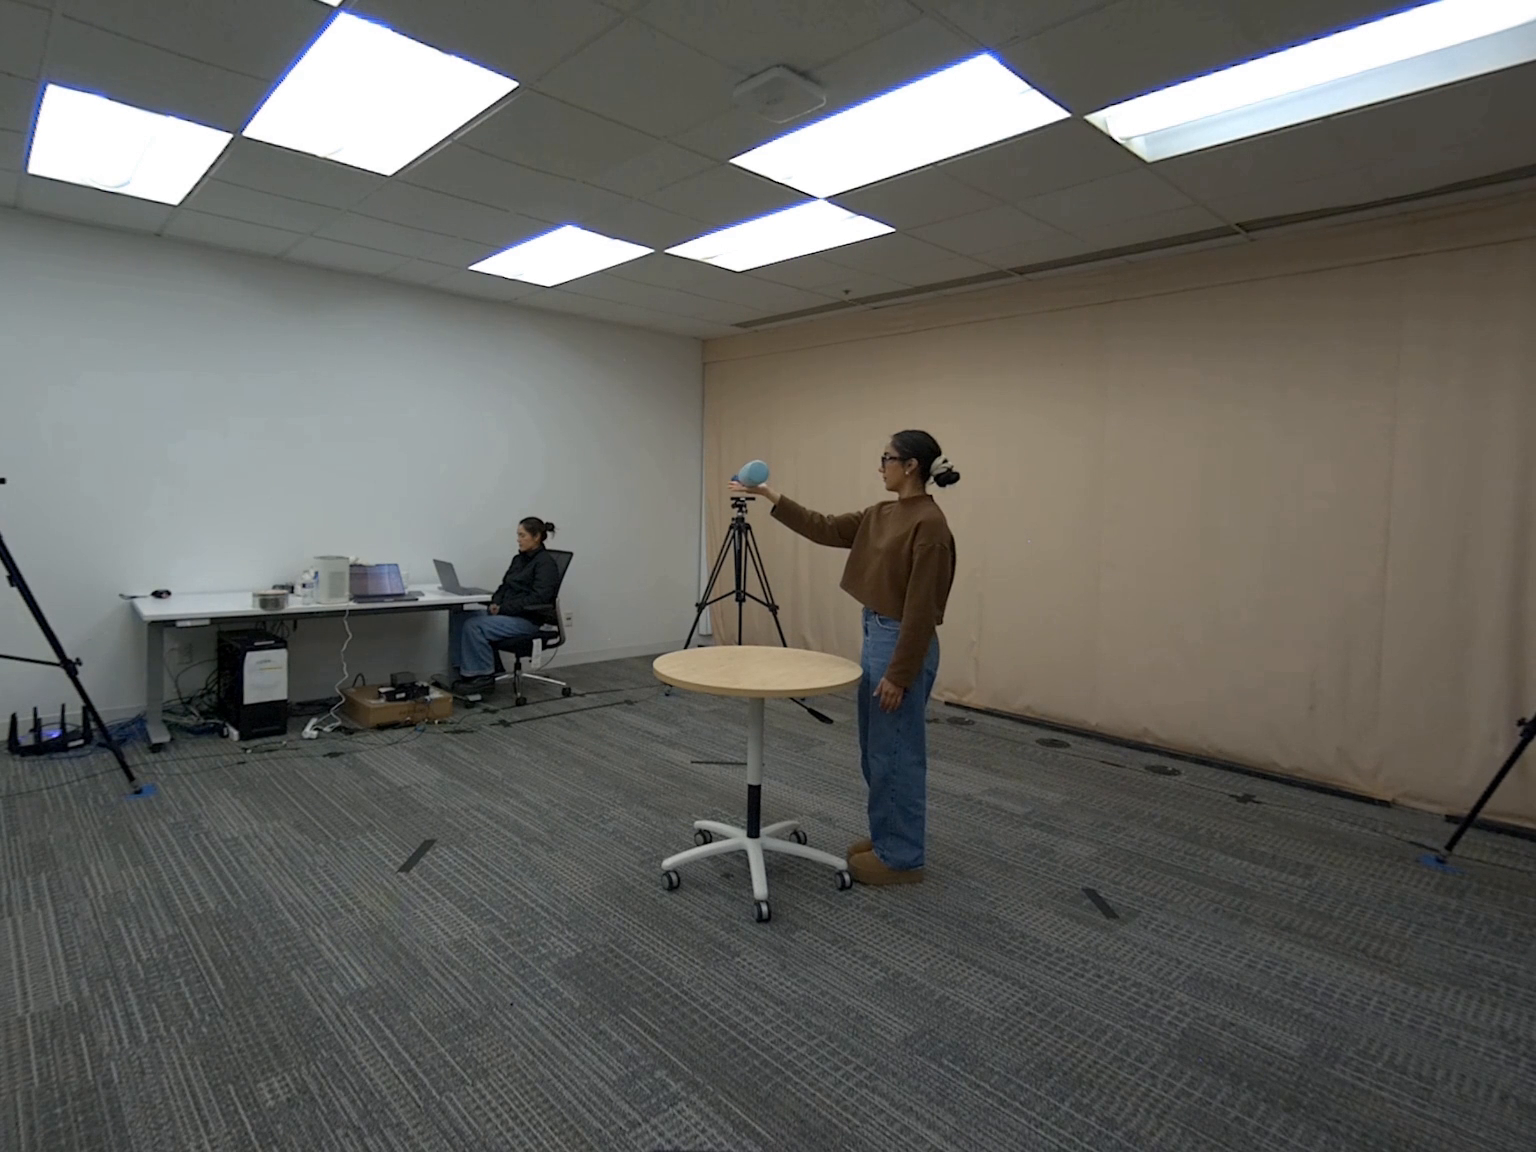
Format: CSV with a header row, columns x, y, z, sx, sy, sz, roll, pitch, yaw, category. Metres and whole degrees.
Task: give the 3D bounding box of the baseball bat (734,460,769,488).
x,y,z,sx,sy,sz,roll,pitch,yaw,category
-0.091,-0.389,3.299,0.088,0.089,0.547,1,2,-9,baseball bat
